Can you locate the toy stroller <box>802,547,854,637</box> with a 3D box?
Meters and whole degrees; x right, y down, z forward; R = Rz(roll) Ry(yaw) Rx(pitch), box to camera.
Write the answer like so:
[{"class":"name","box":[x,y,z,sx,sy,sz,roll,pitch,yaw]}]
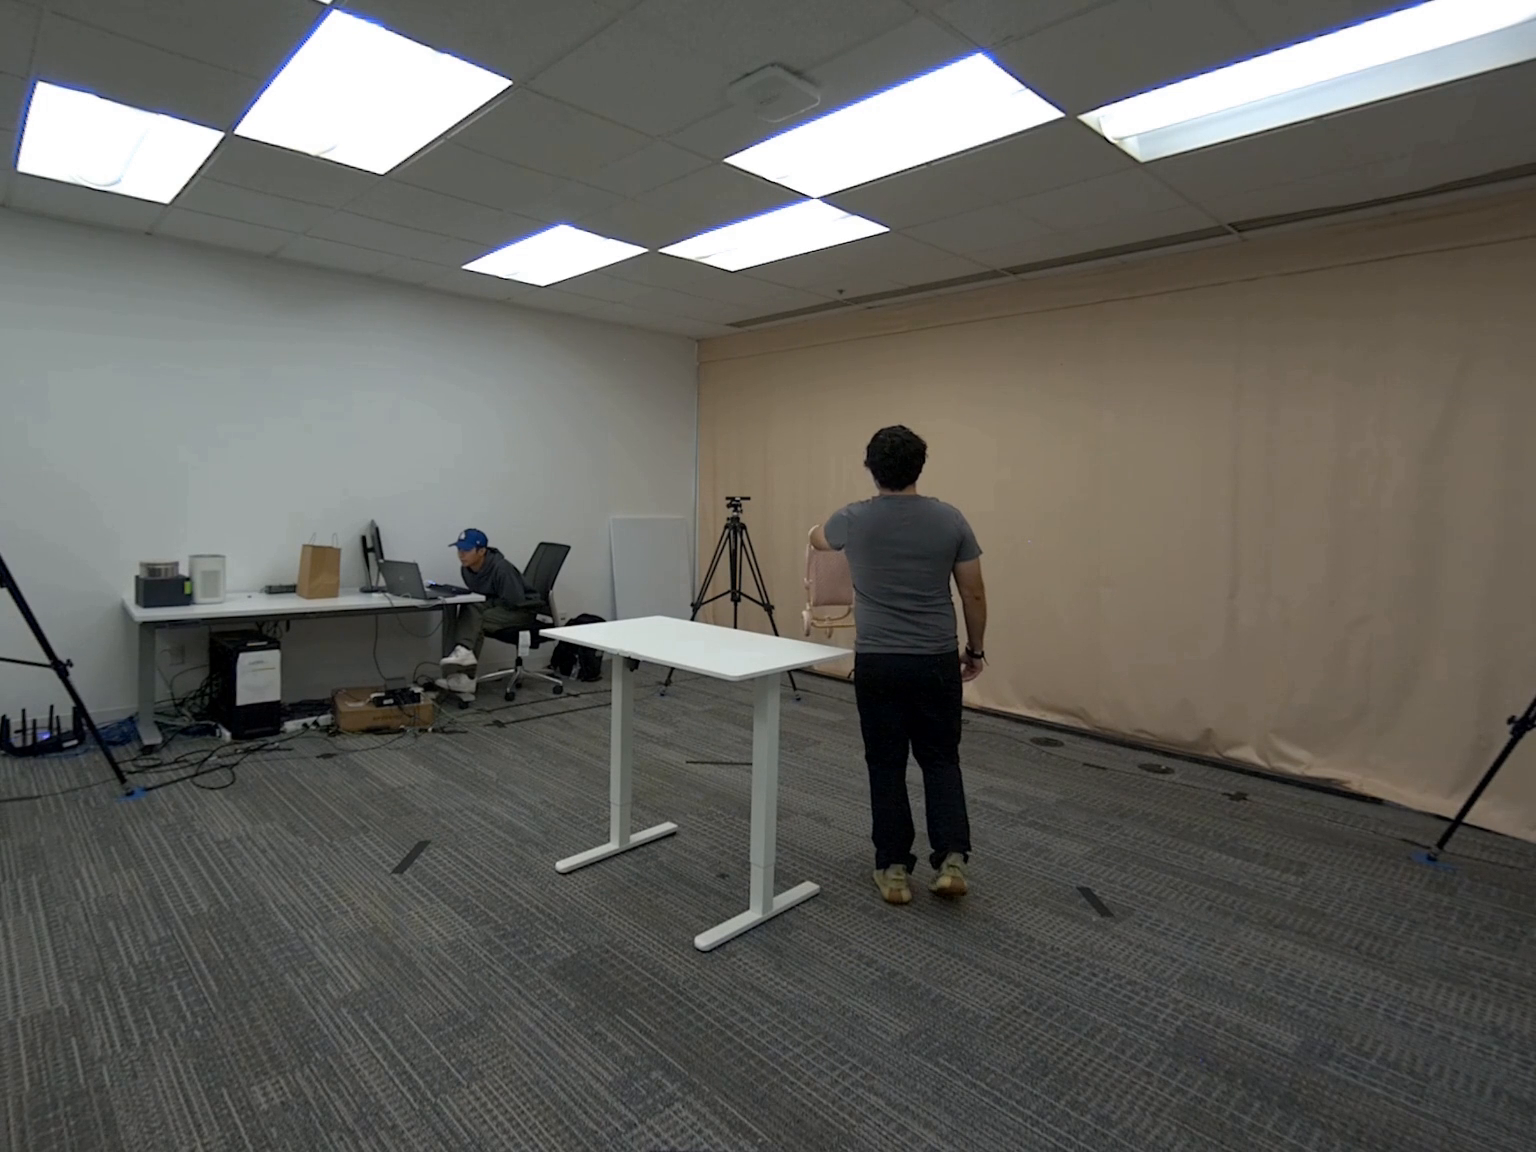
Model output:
[{"class":"toy stroller","box":[0.273,0.038,3.679,0.282,0.533,0.342,-2,5,2]}]
